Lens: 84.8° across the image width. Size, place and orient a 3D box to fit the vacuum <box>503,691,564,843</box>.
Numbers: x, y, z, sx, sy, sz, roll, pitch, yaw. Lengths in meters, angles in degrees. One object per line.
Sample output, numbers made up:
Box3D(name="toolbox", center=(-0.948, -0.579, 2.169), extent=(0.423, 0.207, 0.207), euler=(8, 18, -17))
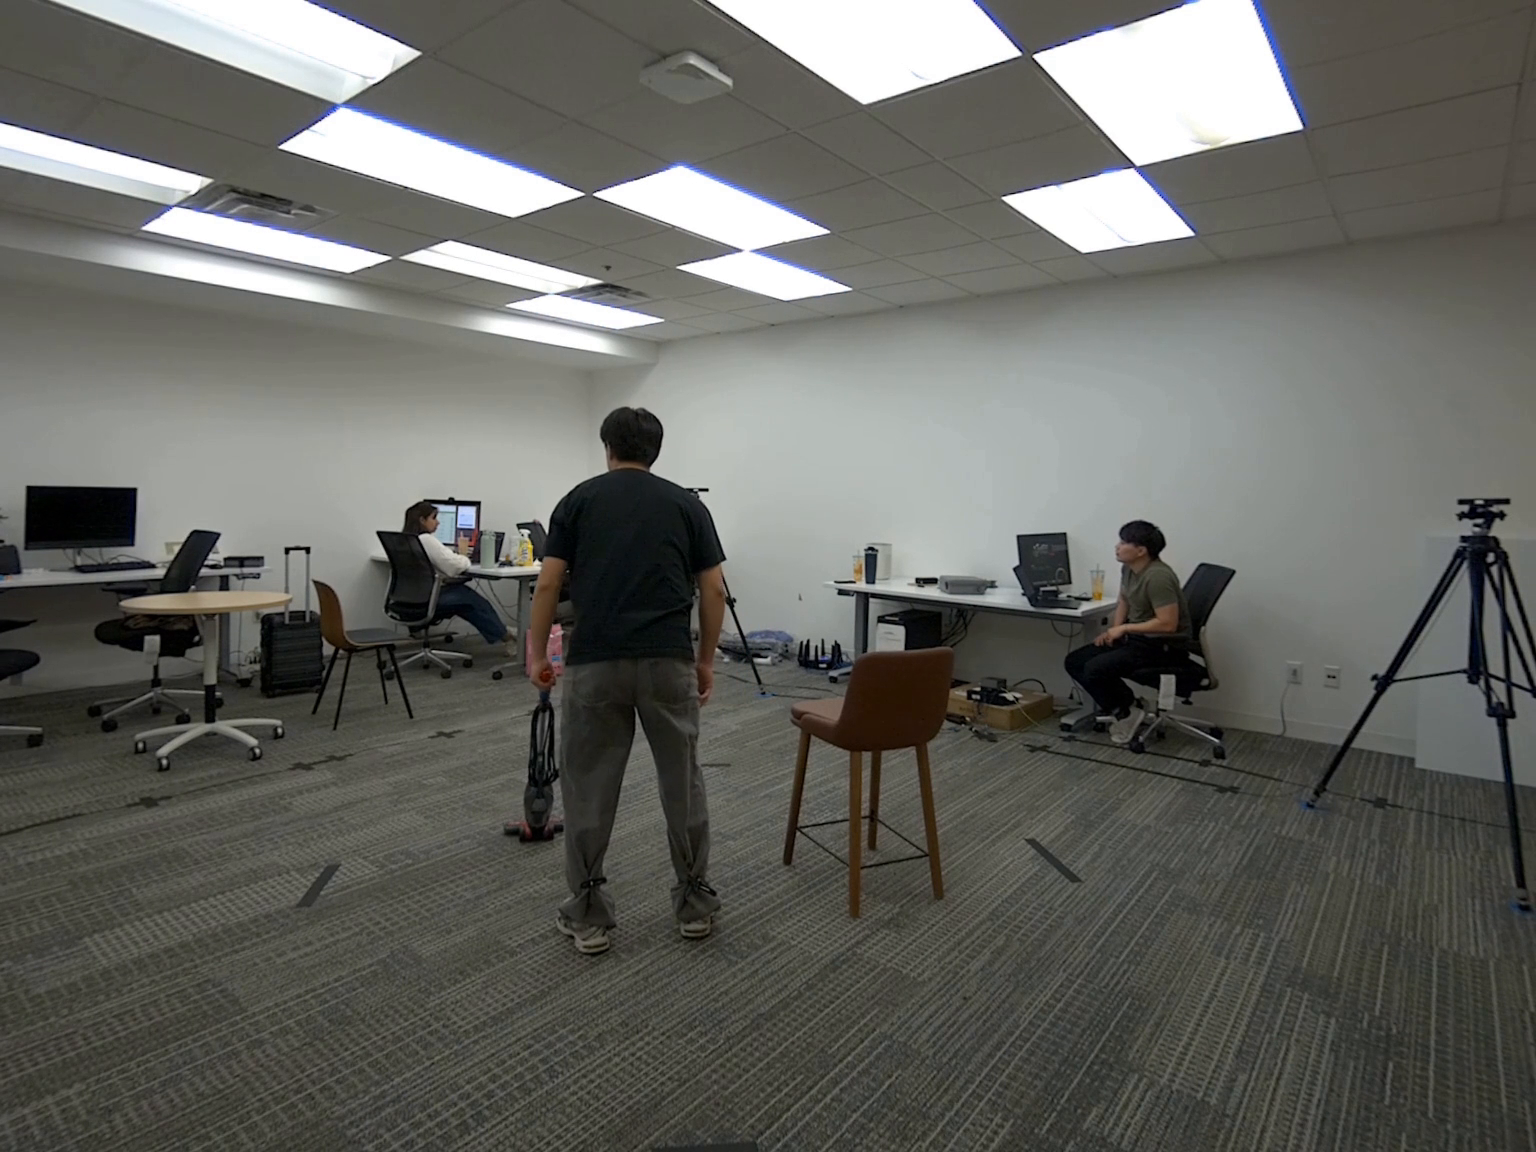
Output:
Box3D(name="vacuum", center=(-0.829, 0.672, 3.038), extent=(0.248, 0.149, 1.029), euler=(-2, -42, -18))
